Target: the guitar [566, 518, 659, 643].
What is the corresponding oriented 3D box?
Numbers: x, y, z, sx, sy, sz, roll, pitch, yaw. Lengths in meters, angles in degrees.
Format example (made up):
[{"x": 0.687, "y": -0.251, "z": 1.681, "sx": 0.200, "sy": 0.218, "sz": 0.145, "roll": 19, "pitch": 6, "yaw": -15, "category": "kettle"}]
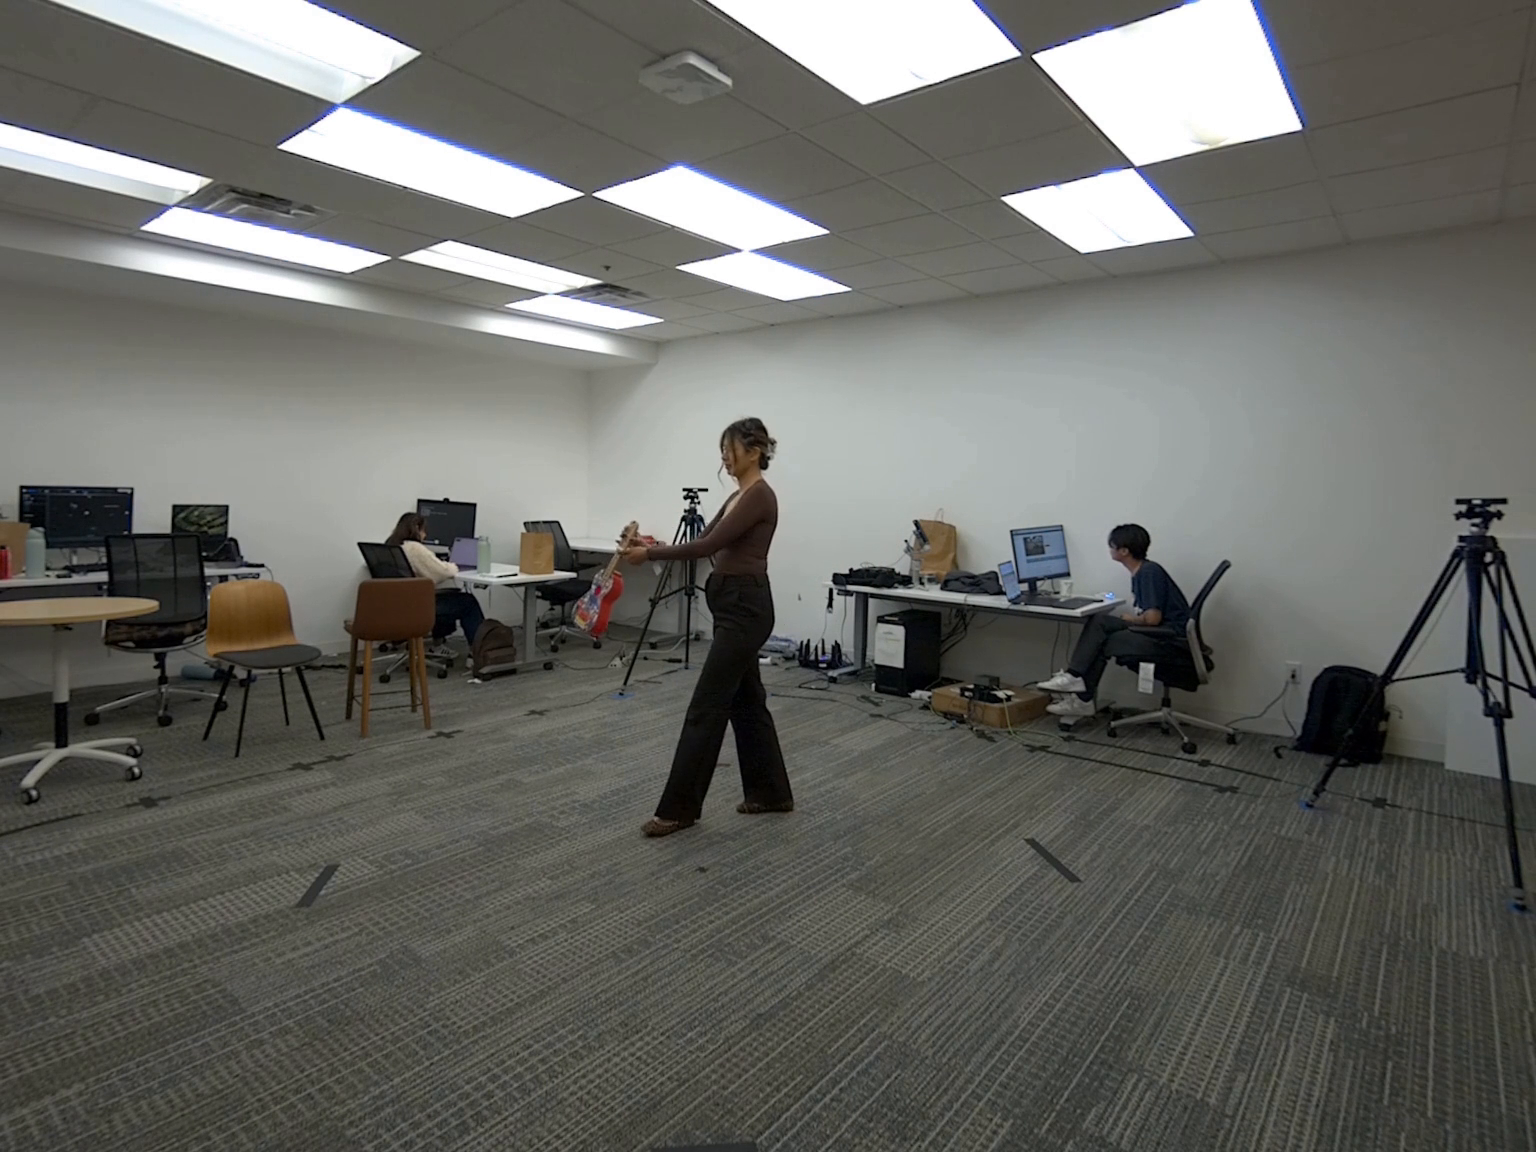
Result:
[{"x": -0.651, "y": 0.015, "z": 3.498, "sx": 0.068, "sy": 0.497, "sz": 0.201, "roll": 28, "pitch": 11, "yaw": -40, "category": "guitar"}]
